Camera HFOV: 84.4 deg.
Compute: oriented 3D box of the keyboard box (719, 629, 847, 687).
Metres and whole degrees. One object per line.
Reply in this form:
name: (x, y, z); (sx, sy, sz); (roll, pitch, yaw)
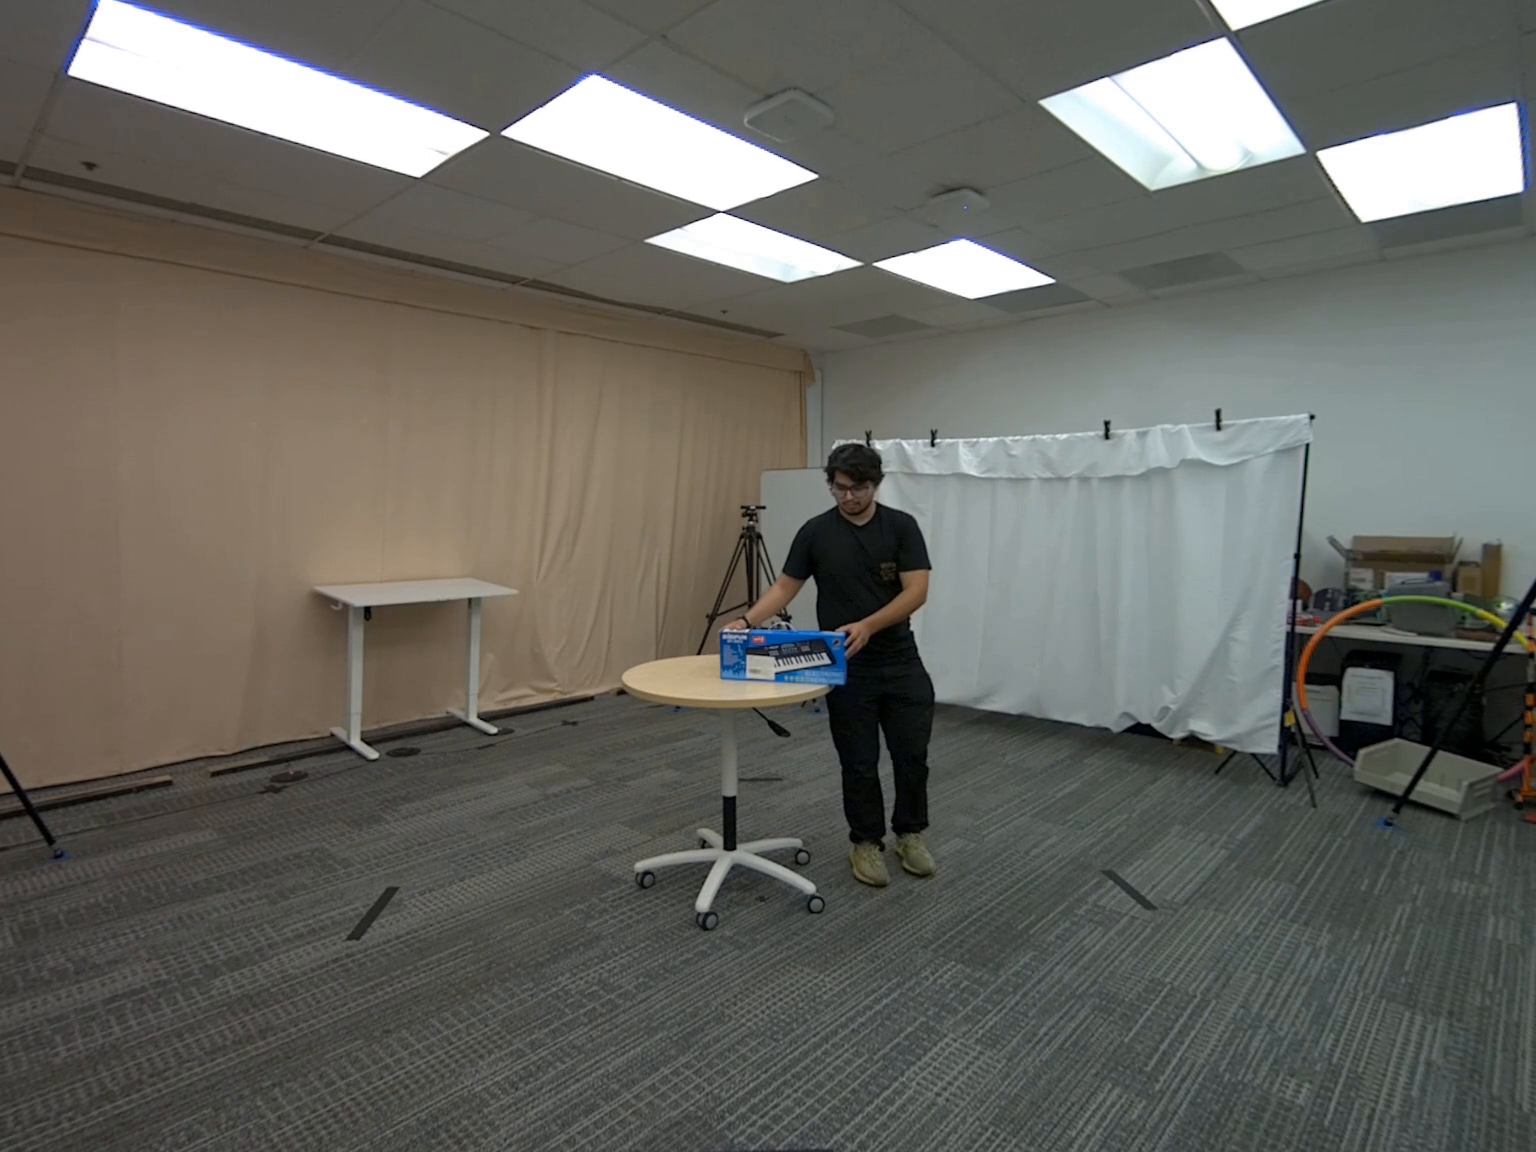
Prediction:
keyboard box: (0.049, 0.281, 2.919); (0.444, 0.175, 0.058); (0, 9, 15)
